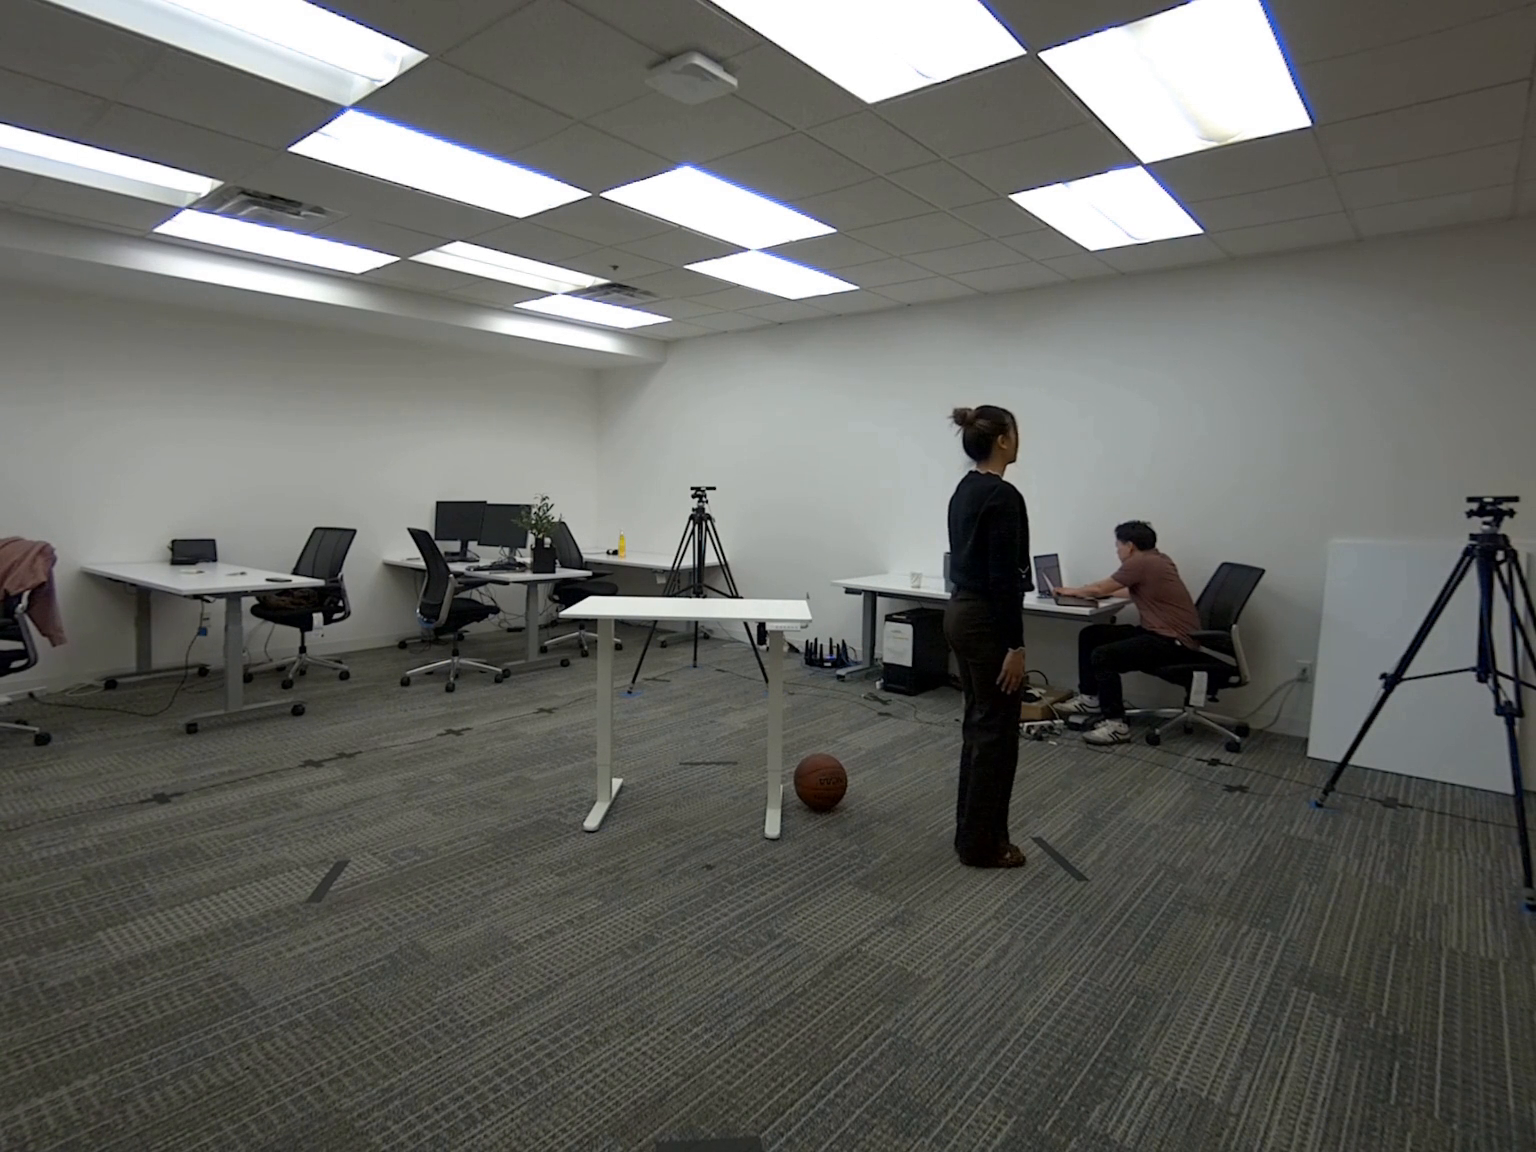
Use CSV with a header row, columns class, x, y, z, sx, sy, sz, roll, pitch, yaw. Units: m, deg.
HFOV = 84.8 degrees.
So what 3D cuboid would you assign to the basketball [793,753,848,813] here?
class,x,y,z,sx,sy,sz,roll,pitch,yaw
basketball,0.224,0.895,3.724,0.235,0.235,0.237,1,4,-2
